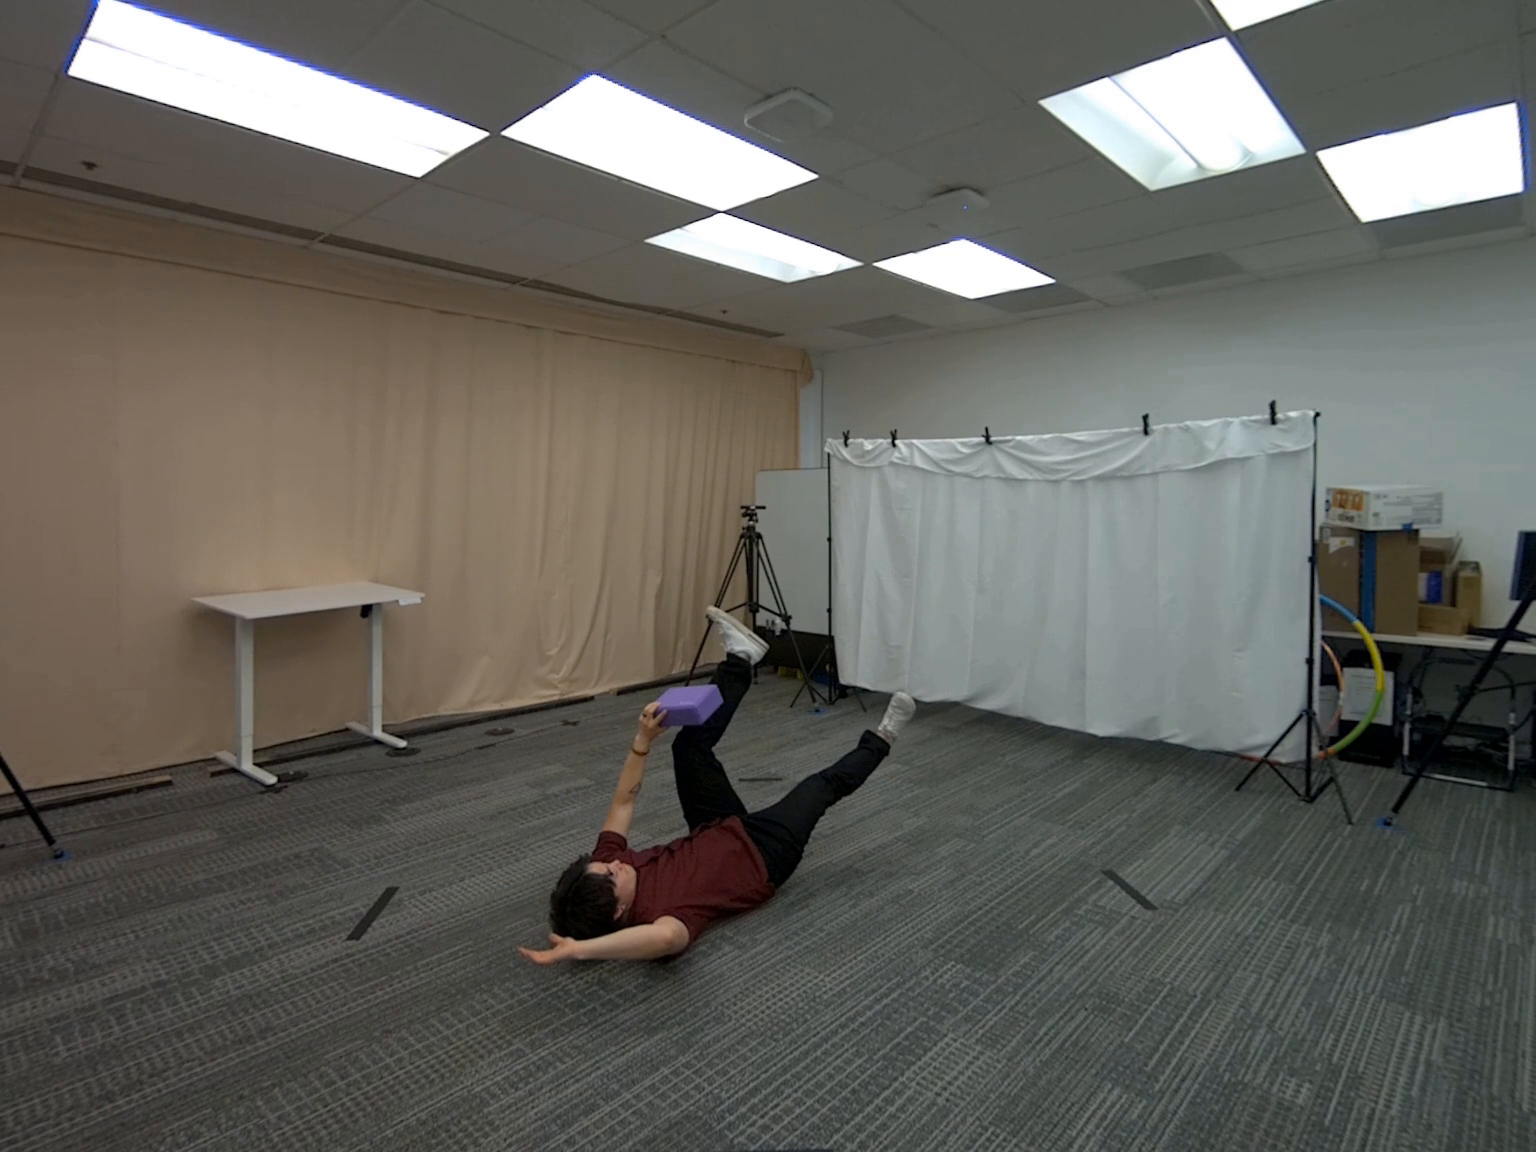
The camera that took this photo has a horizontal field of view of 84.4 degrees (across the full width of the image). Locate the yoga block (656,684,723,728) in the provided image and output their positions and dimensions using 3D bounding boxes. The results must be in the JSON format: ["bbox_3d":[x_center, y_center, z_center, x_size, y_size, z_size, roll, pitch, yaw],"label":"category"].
[{"bbox_3d":[-0.293,0.446,2.904,0.235,0.075,0.147,-13,15,30],"label":"yoga block"}]
